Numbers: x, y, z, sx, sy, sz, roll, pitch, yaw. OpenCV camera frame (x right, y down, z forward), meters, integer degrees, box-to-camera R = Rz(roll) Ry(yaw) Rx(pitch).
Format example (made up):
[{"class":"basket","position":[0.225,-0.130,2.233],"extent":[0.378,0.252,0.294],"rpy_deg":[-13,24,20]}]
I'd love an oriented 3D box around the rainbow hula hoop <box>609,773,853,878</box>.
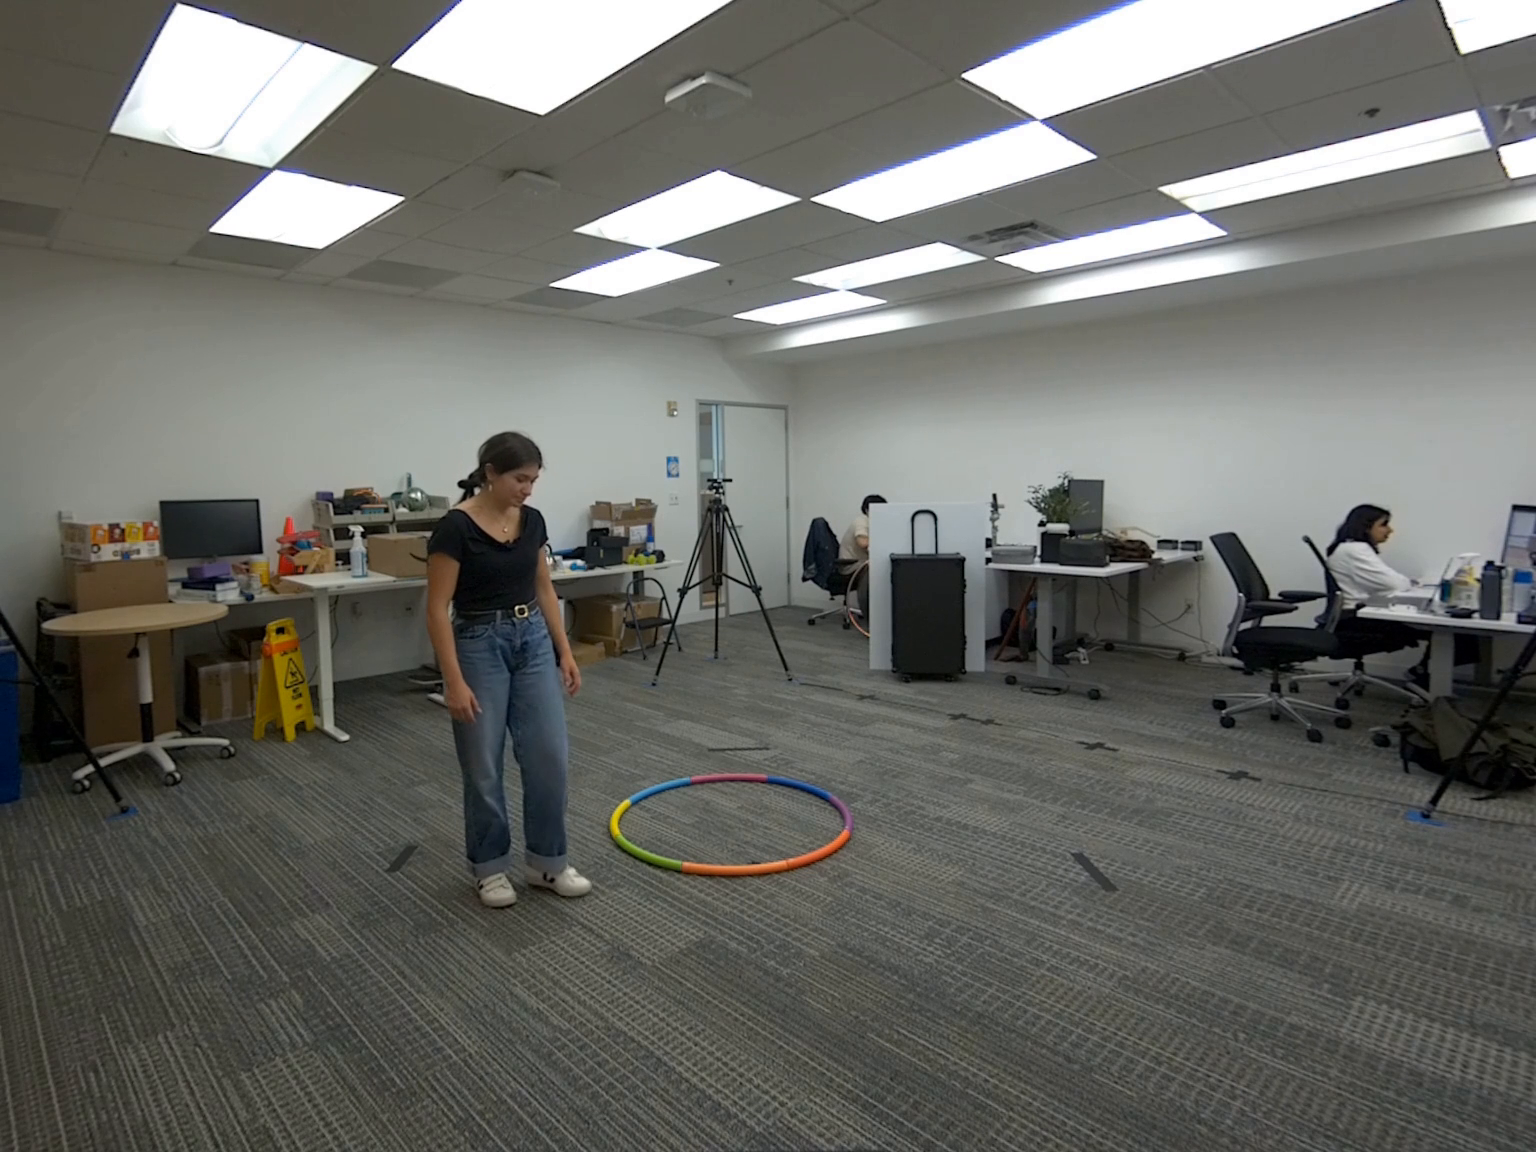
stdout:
[{"class":"rainbow hula hoop","position":[-0.148,0.975,3.488],"extent":[0.978,0.035,0.984],"rpy_deg":[-1,6,-2]}]
